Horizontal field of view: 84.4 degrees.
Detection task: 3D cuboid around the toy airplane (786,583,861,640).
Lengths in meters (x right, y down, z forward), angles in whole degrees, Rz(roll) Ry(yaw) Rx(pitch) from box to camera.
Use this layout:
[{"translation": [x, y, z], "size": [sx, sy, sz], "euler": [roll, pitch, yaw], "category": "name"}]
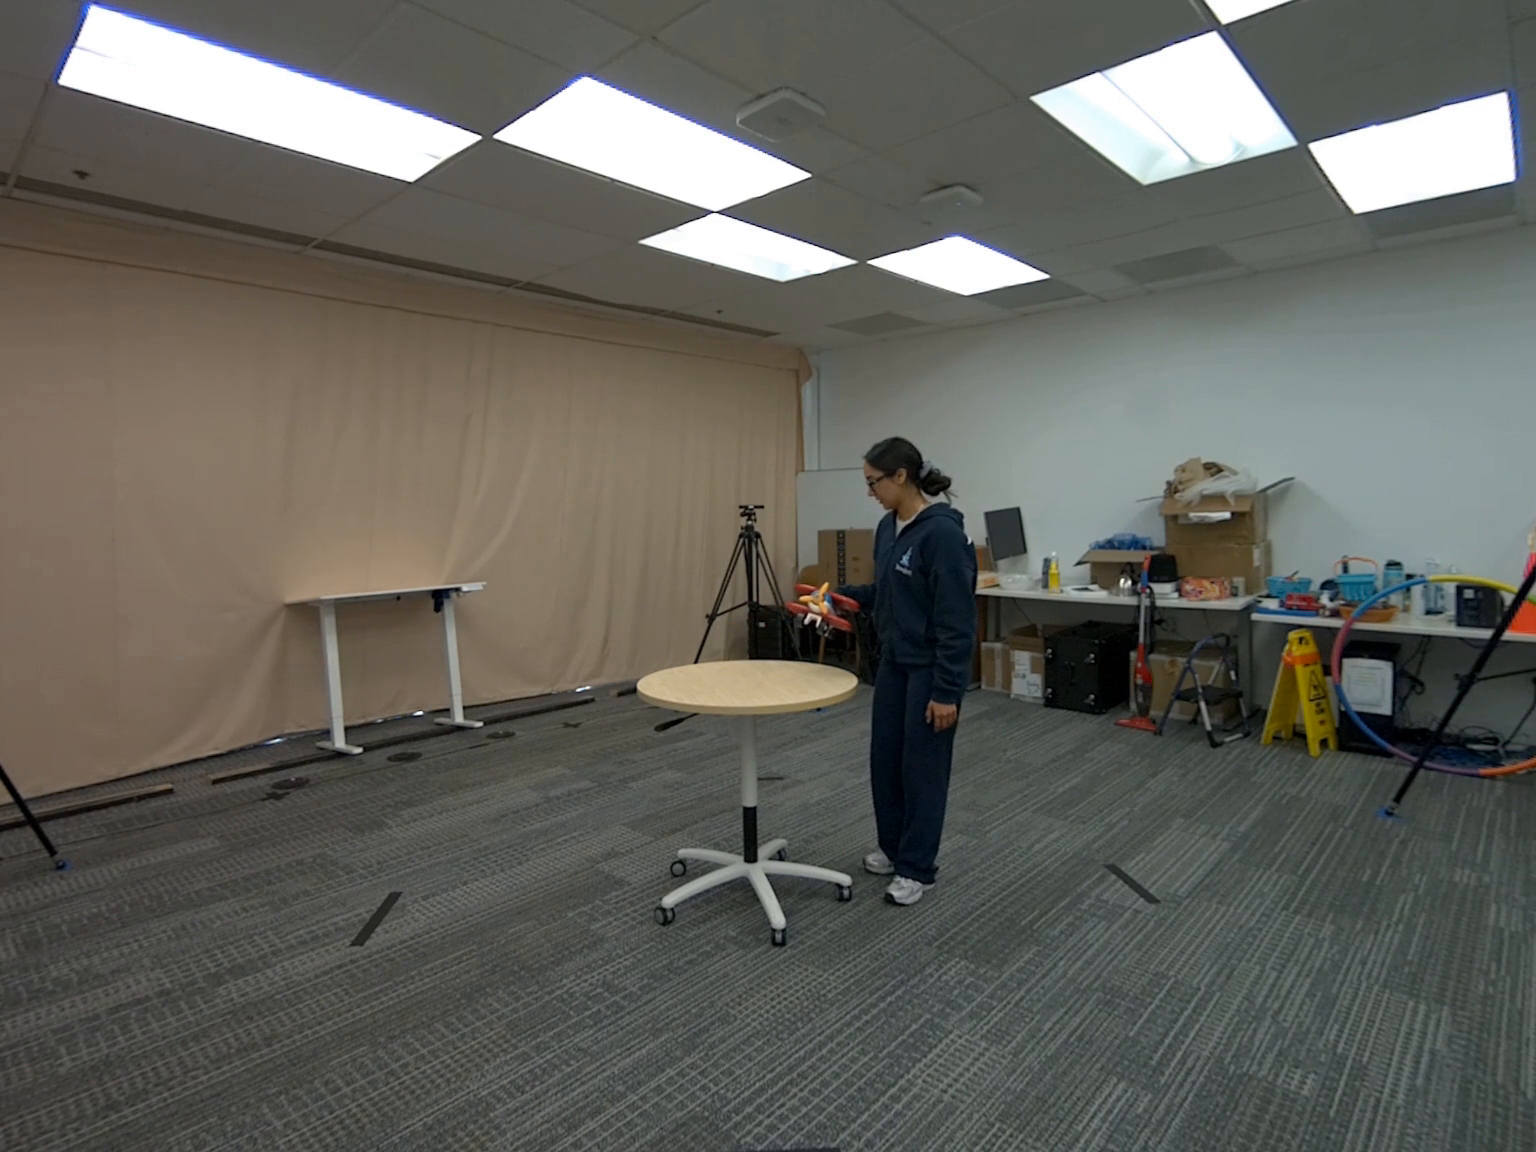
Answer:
[{"translation": [0.194, 0.136, 3.095], "size": [0.251, 0.156, 0.259], "euler": [20, -3, -1], "category": "toy airplane"}]
